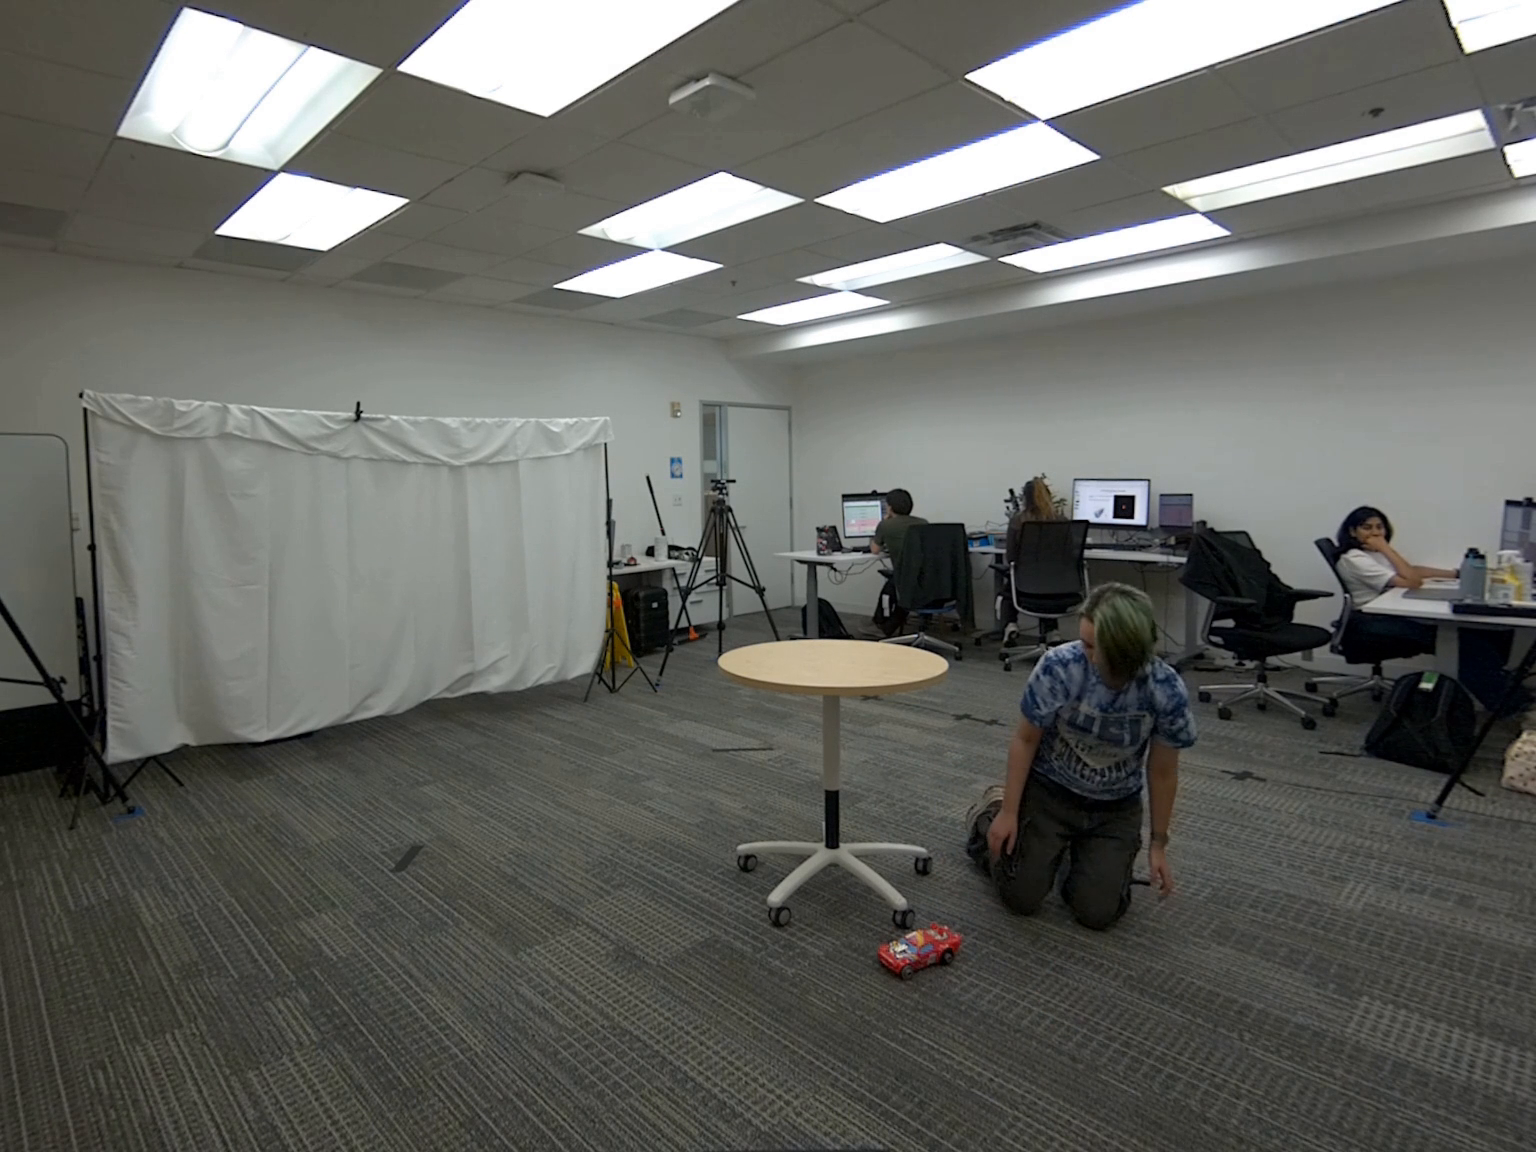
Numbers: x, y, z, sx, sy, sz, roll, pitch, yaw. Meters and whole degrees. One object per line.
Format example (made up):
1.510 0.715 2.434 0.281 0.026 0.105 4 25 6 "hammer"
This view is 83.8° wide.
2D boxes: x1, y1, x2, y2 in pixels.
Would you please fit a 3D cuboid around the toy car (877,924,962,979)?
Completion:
0.451 1.082 2.457 0.250 0.082 0.134 -17 14 -26 "toy car"
